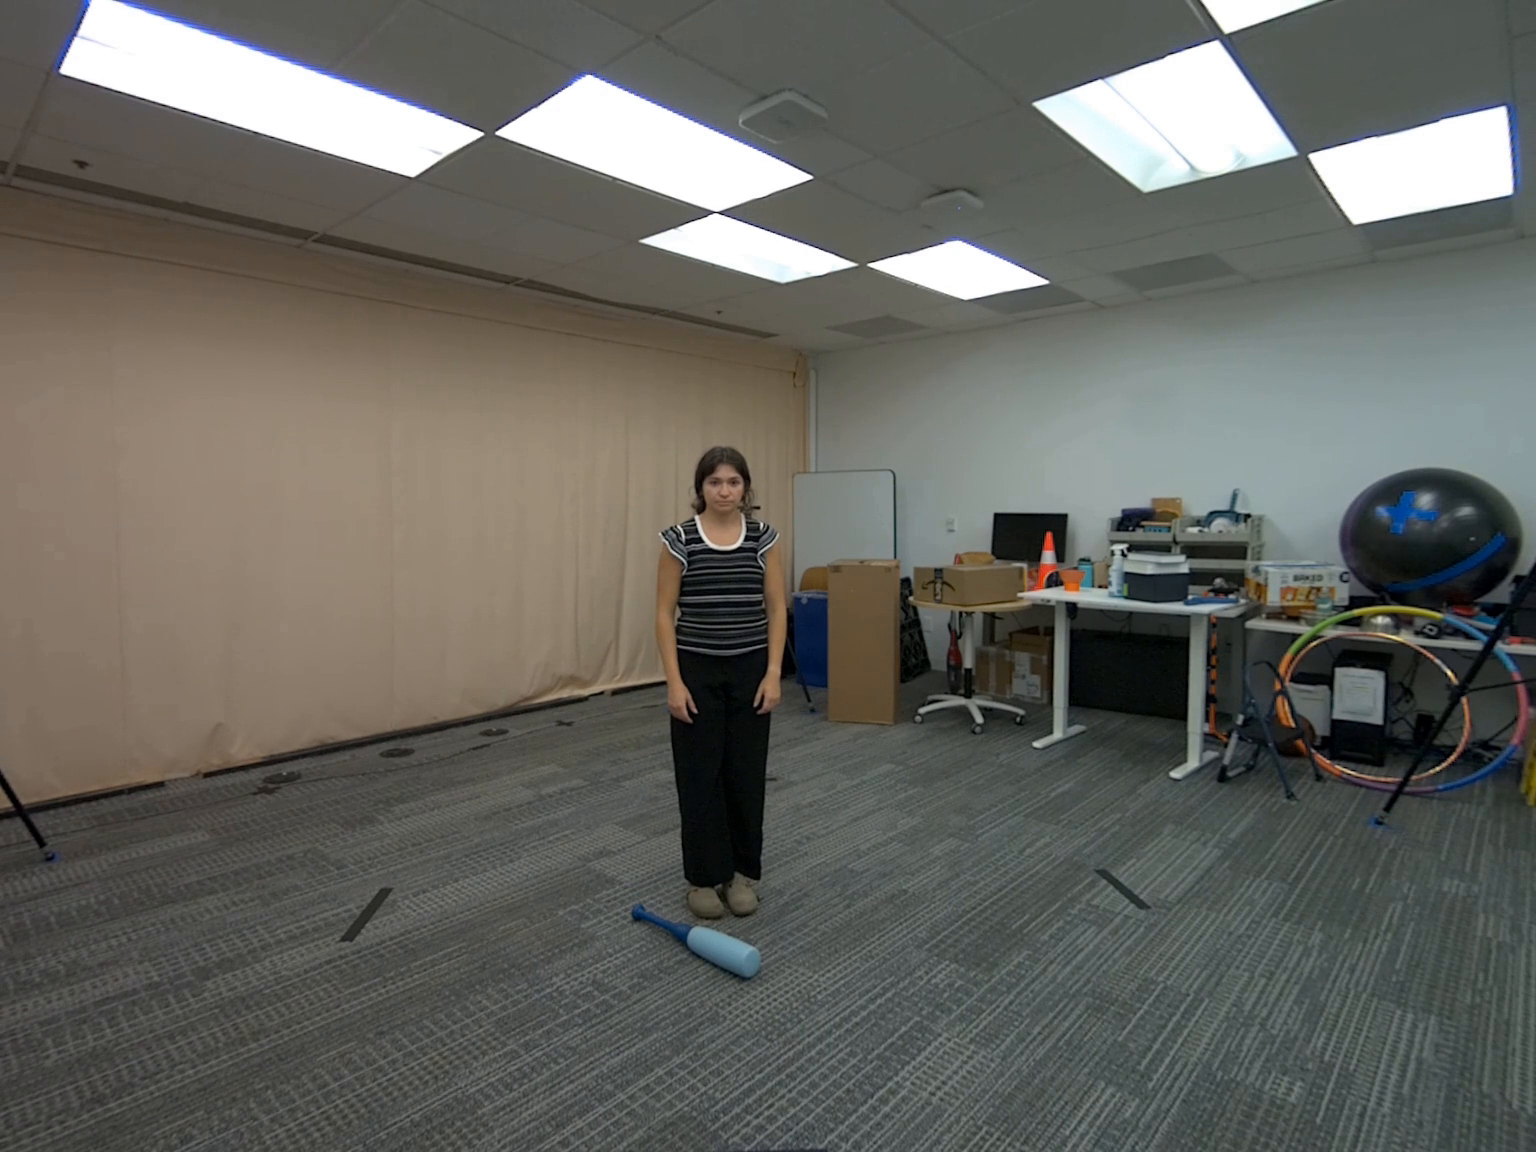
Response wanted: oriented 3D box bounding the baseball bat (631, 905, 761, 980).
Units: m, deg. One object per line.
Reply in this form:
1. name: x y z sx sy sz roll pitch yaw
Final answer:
1. baseball bat: -0.248 1.137 2.657 0.560 0.089 0.086 0 2 44
